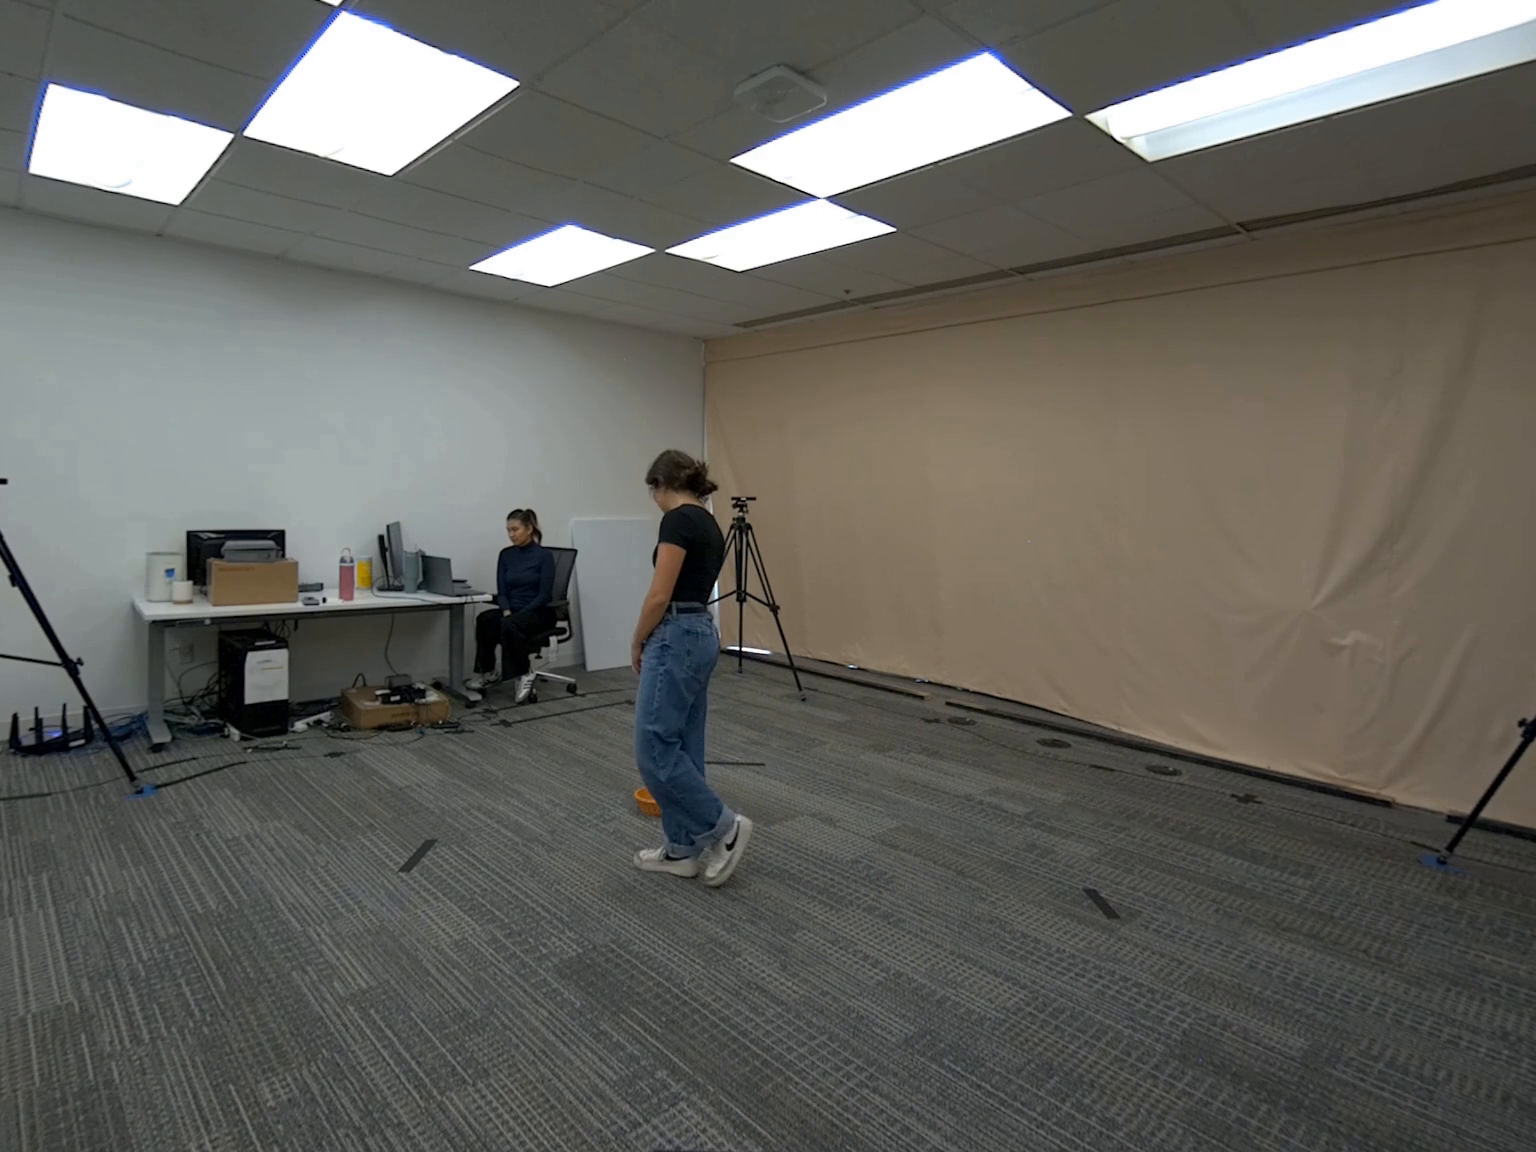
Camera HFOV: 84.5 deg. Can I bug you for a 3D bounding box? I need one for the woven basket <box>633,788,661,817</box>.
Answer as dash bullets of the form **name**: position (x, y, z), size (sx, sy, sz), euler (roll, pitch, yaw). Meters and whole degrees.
- **woven basket**: position (-0.436, 1.005, 3.781), size (0.344, 0.073, 0.257), euler (-1, 4, -23)
